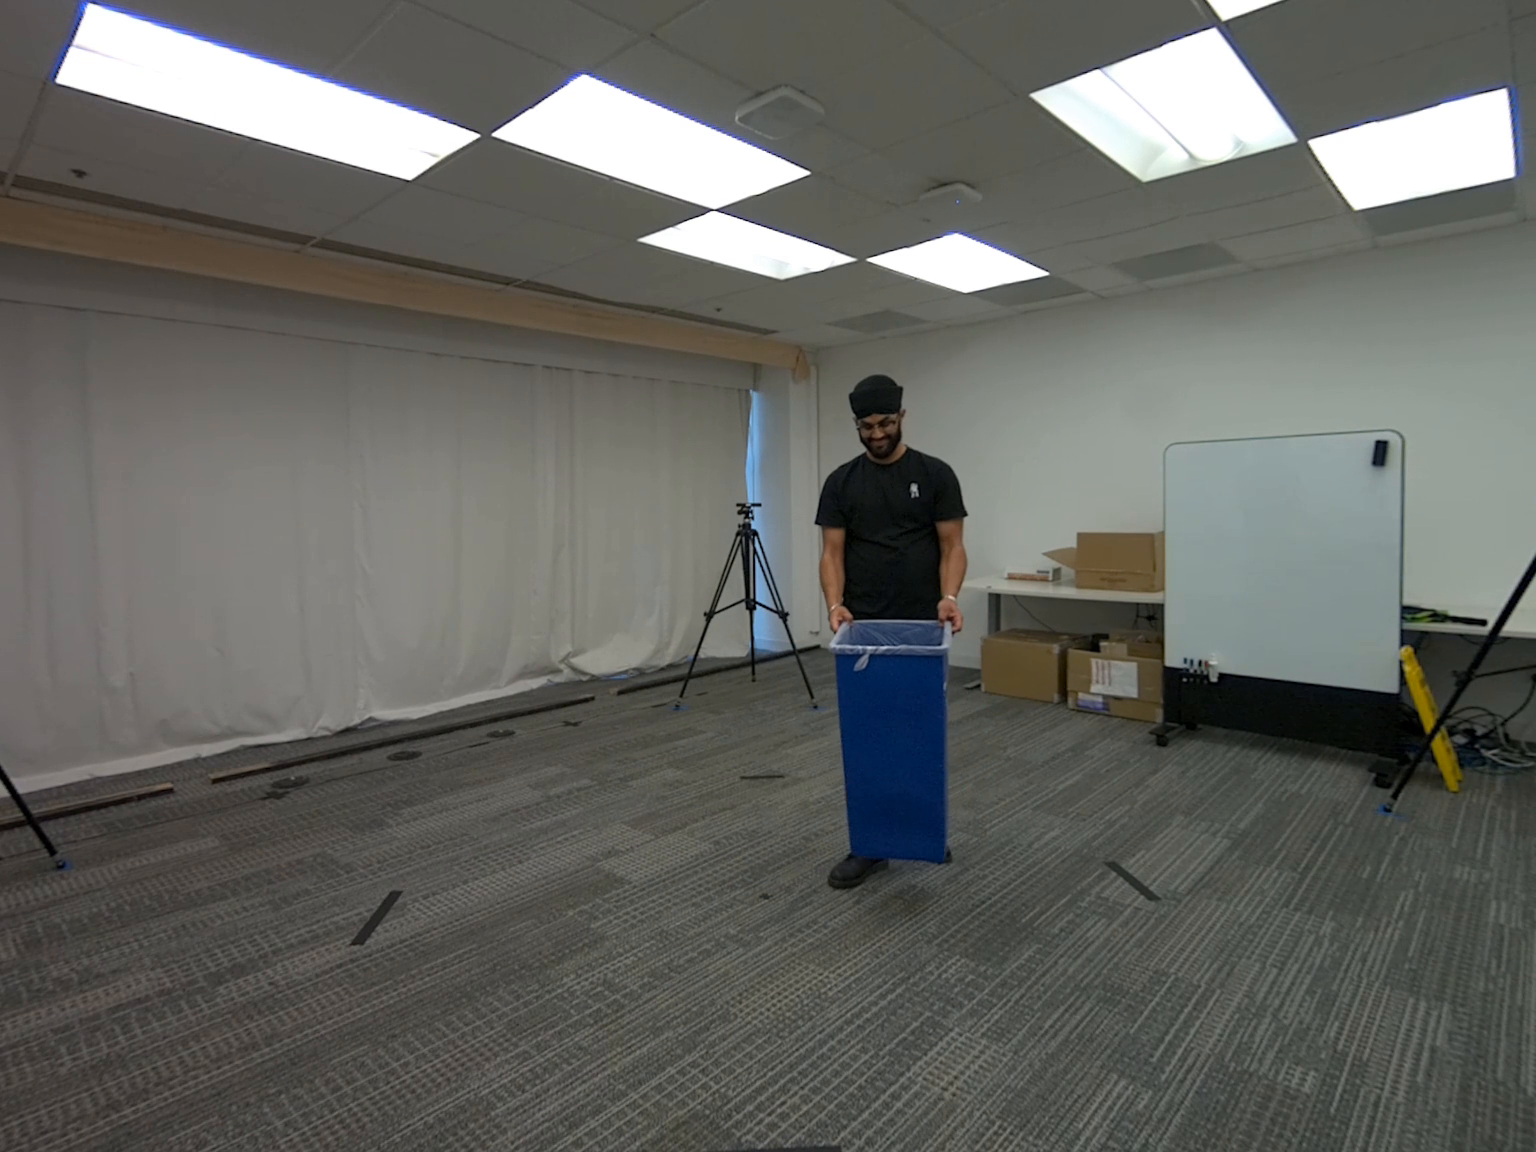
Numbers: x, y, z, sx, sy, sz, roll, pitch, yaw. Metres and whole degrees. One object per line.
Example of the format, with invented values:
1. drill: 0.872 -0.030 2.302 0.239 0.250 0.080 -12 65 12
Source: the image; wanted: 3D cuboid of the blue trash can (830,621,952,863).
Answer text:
1. blue trash can: 0.432 0.539 2.818 0.385 0.709 0.370 -2 9 16
